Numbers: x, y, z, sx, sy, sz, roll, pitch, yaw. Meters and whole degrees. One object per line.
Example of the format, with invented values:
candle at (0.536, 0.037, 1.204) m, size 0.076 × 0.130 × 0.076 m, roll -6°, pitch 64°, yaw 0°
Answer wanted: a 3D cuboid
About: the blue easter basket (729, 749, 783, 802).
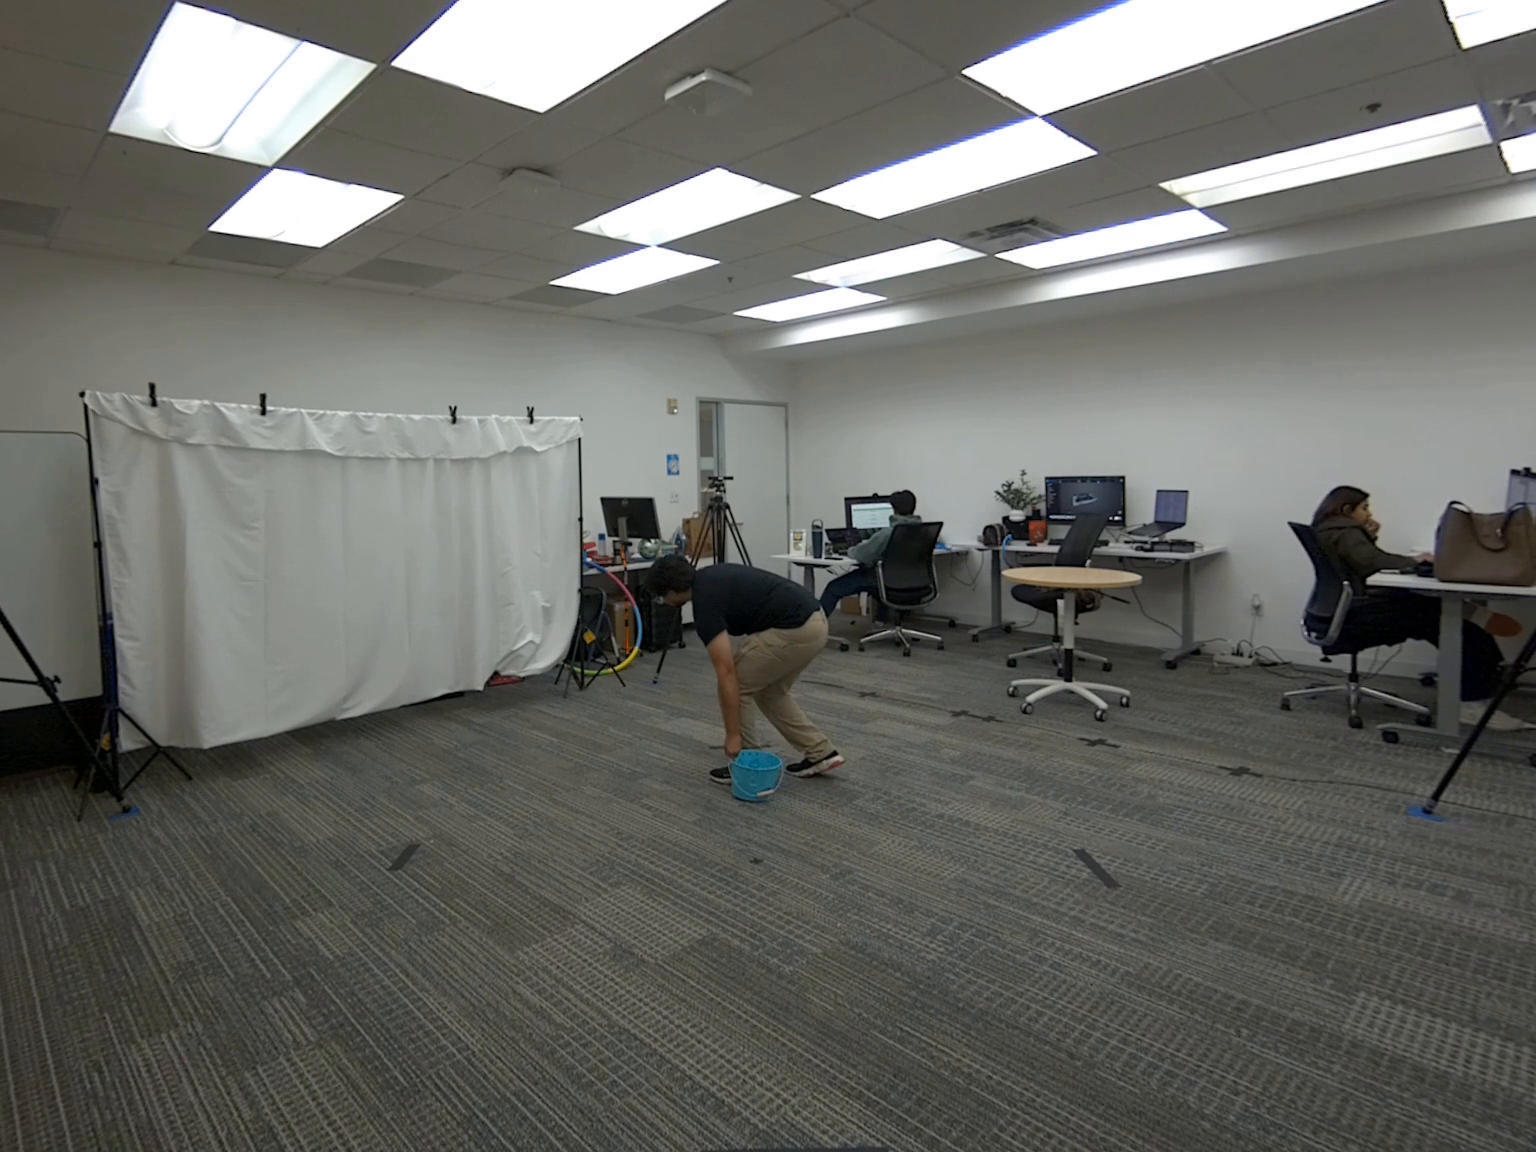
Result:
blue easter basket at (-0.066, 0.881, 3.748) m, size 0.243 × 0.155 × 0.245 m, roll 4°, pitch 6°, yaw -2°
